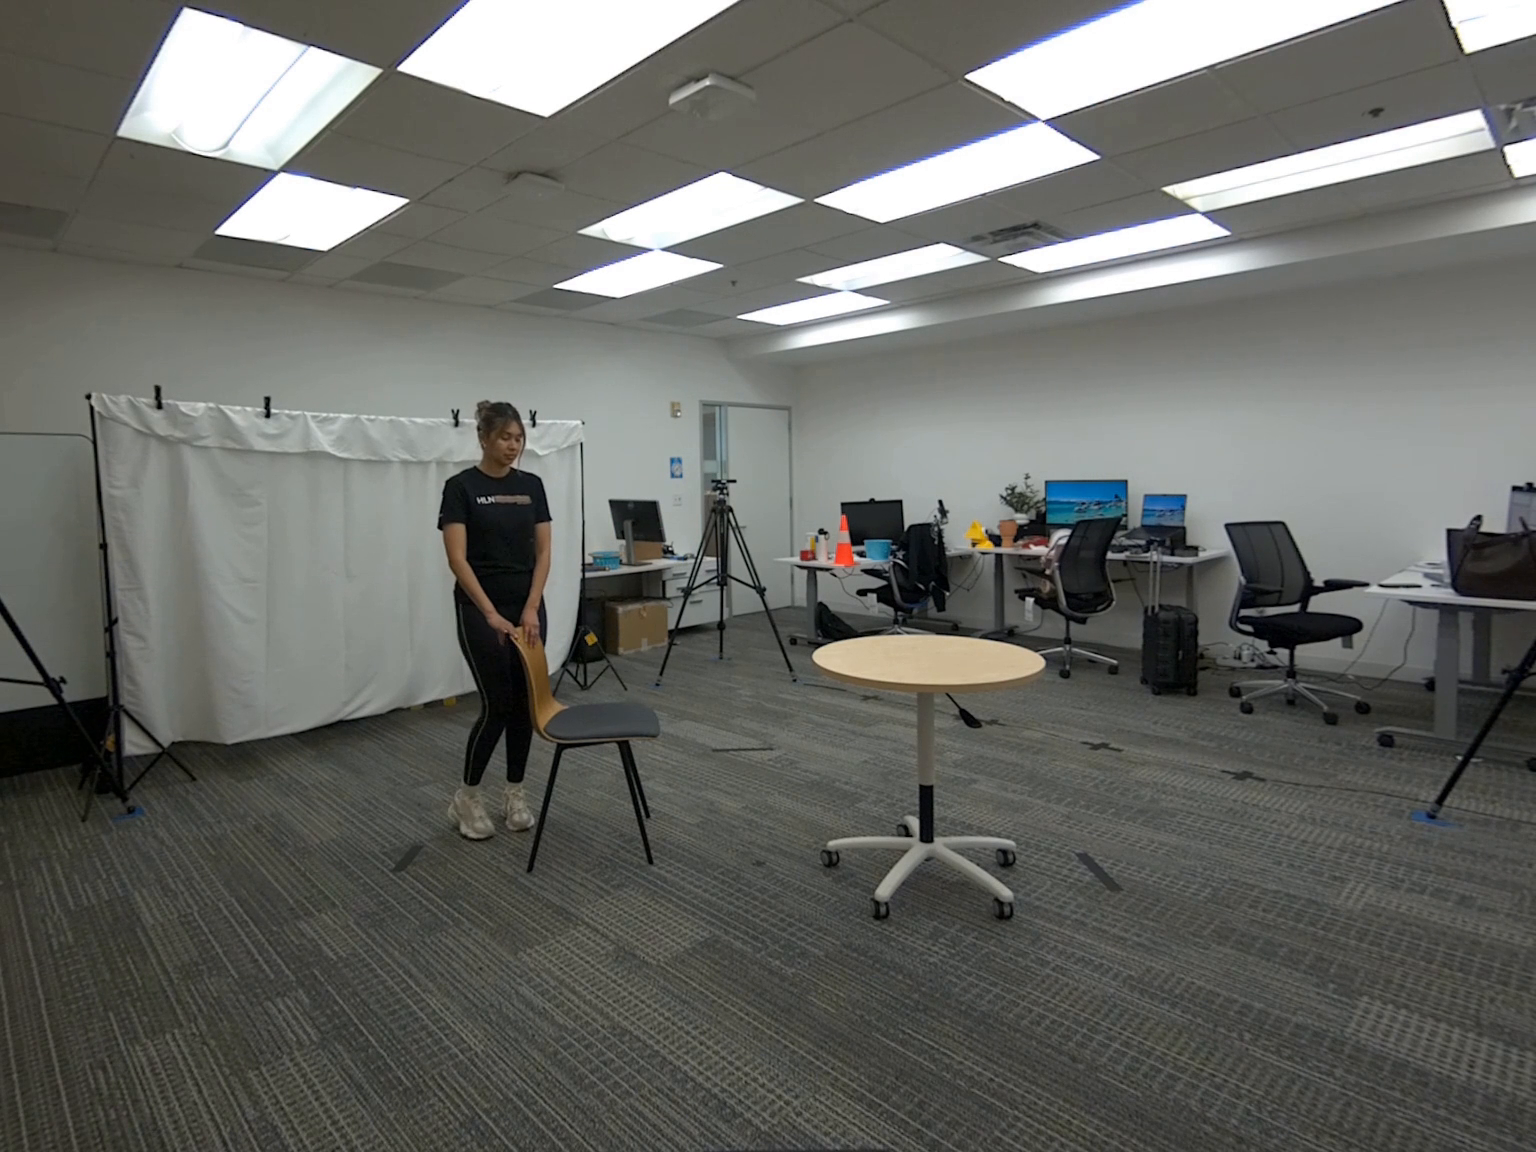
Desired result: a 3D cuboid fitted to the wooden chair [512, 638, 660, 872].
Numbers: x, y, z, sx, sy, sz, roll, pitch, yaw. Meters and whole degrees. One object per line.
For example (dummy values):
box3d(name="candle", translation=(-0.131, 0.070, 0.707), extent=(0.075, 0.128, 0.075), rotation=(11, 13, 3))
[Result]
box3d(name="wooden chair", translation=(-0.679, 0.615, 3.281), extent=(0.520, 0.874, 0.483), rotation=(-6, 4, -8))
